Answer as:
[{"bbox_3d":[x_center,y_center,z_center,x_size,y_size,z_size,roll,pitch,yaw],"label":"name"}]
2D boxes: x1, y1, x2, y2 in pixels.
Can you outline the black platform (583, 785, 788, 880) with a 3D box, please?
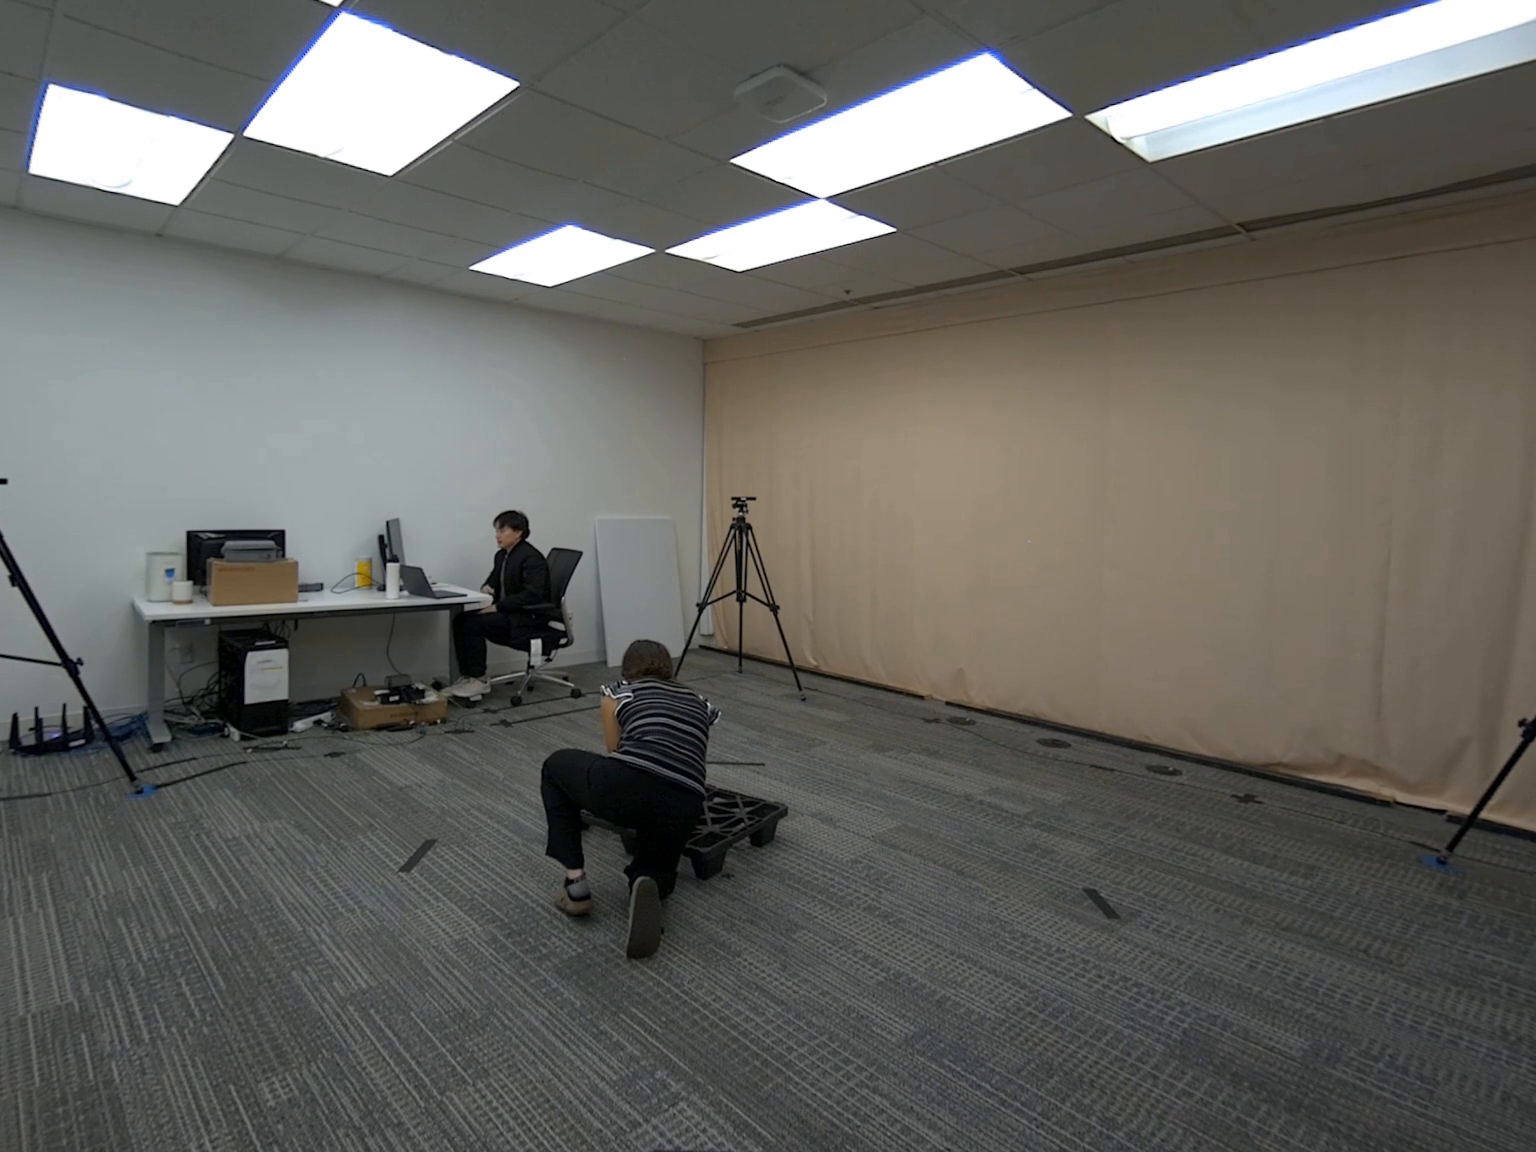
[{"bbox_3d":[-0.413,1.000,3.455,0.824,0.143,0.592,5,5,33],"label":"black platform"}]
